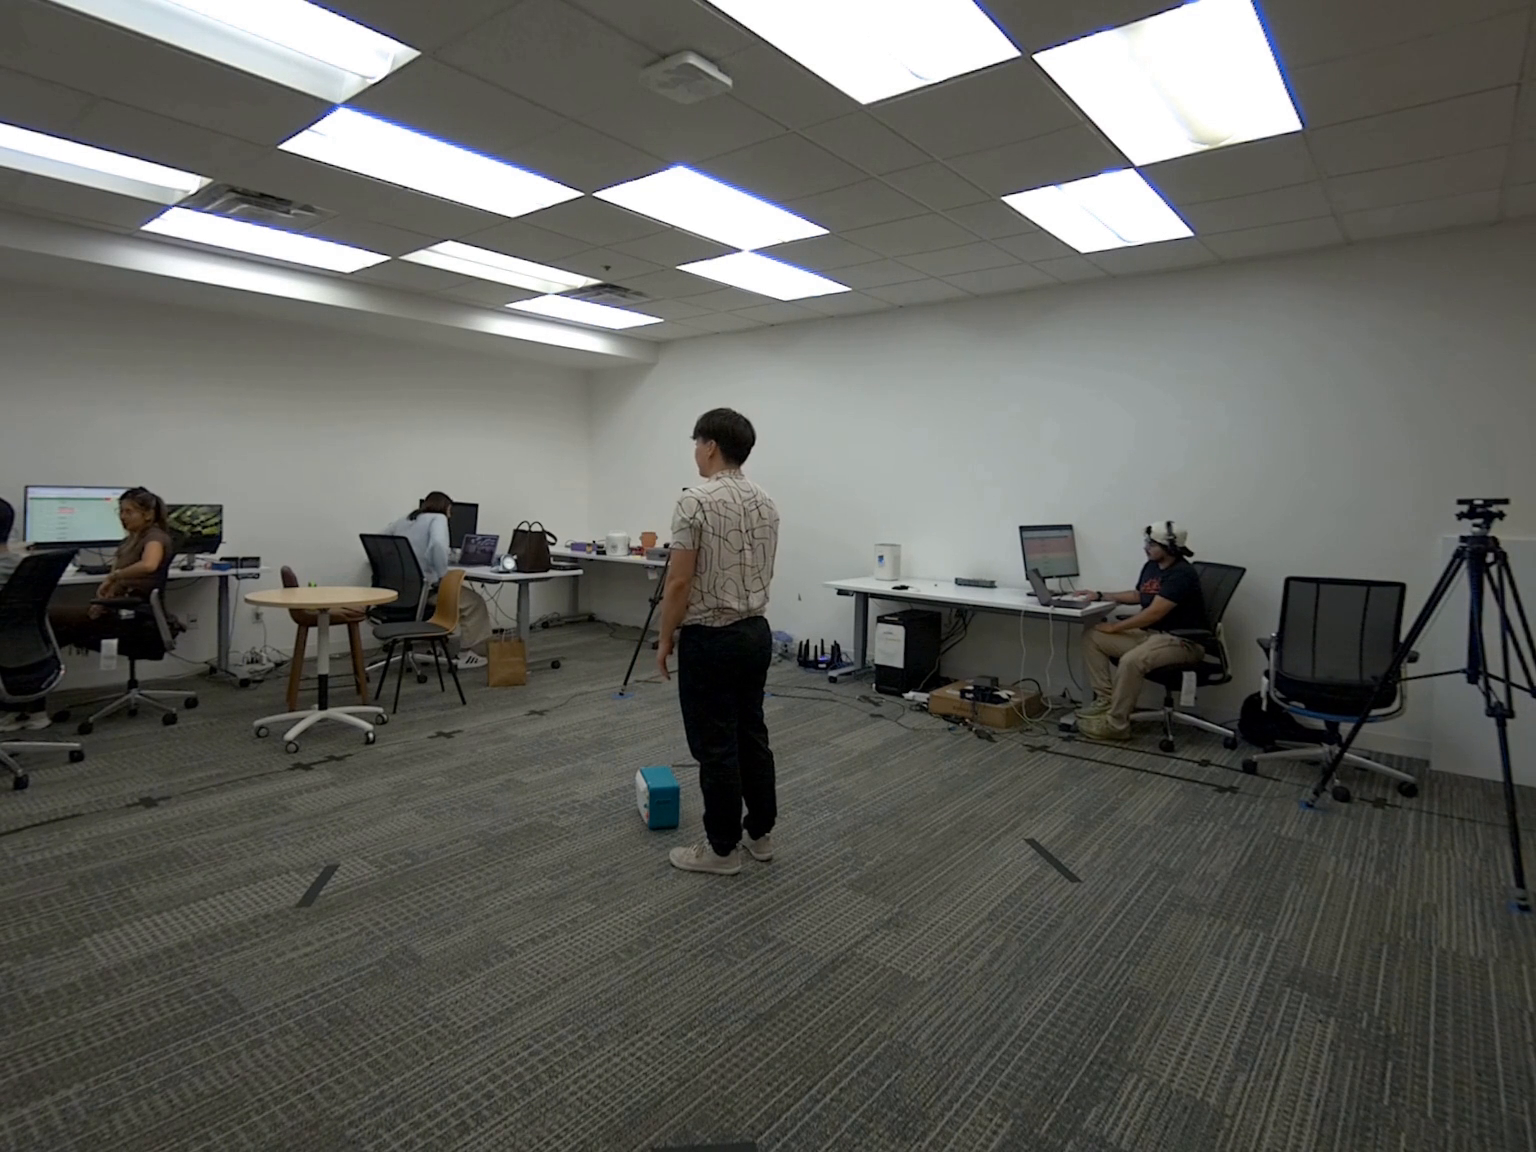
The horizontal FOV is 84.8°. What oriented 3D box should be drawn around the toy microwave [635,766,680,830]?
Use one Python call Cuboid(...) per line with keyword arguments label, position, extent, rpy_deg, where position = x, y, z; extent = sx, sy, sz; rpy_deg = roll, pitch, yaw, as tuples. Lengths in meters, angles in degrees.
Cuboid(label="toy microwave", position=(-0.481, 0.926, 3.586), extent=(0.150, 0.183, 0.292), rpy_deg=(0, 5, -17))
